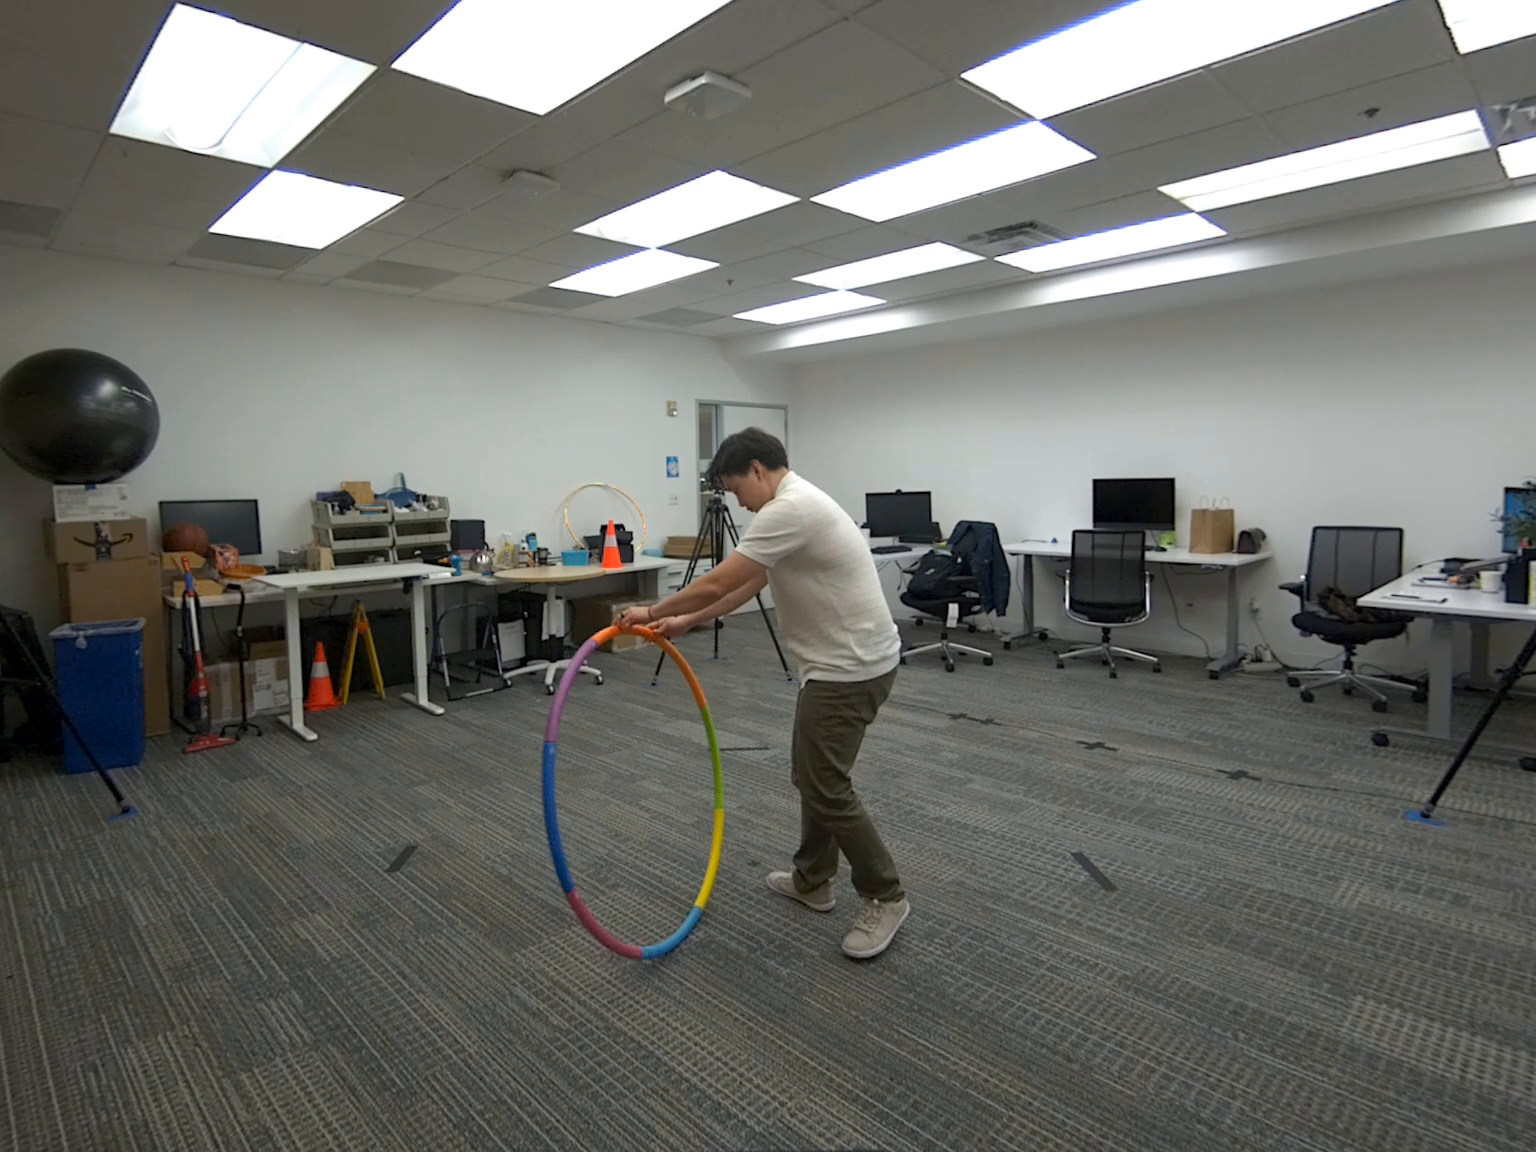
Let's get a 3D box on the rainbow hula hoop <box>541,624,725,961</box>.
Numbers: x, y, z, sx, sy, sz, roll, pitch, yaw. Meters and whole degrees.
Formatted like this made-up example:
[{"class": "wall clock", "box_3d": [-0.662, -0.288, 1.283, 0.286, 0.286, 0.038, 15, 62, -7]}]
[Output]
[{"class": "rainbow hula hoop", "box_3d": [-0.366, 0.633, 2.627, 0.036, 0.980, 0.962, -14, -1, 22]}]
